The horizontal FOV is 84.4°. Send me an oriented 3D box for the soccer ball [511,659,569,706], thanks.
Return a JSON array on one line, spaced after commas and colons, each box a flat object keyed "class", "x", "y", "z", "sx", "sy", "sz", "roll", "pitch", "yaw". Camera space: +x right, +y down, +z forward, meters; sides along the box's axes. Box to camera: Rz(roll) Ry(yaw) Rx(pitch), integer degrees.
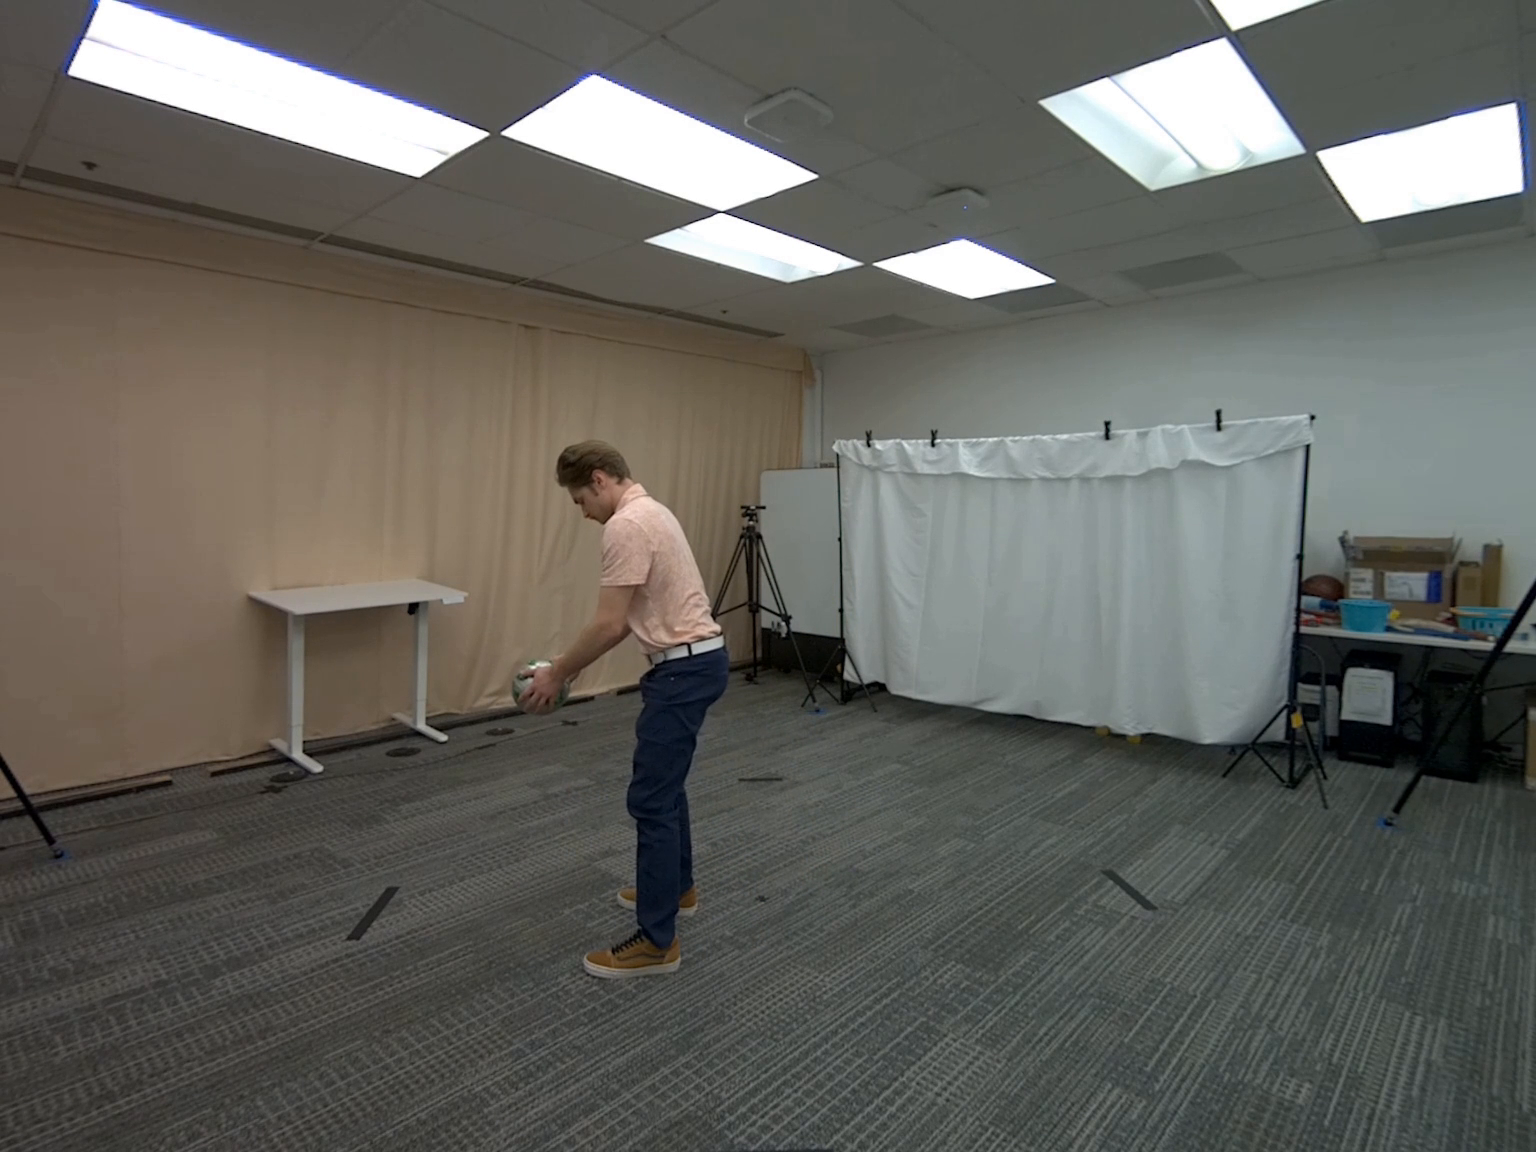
[{"class": "soccer ball", "x": -0.743, "y": 0.366, "z": 2.744, "sx": 0.187, "sy": 0.187, "sz": 0.188, "roll": 0, "pitch": 4, "yaw": -2}]
